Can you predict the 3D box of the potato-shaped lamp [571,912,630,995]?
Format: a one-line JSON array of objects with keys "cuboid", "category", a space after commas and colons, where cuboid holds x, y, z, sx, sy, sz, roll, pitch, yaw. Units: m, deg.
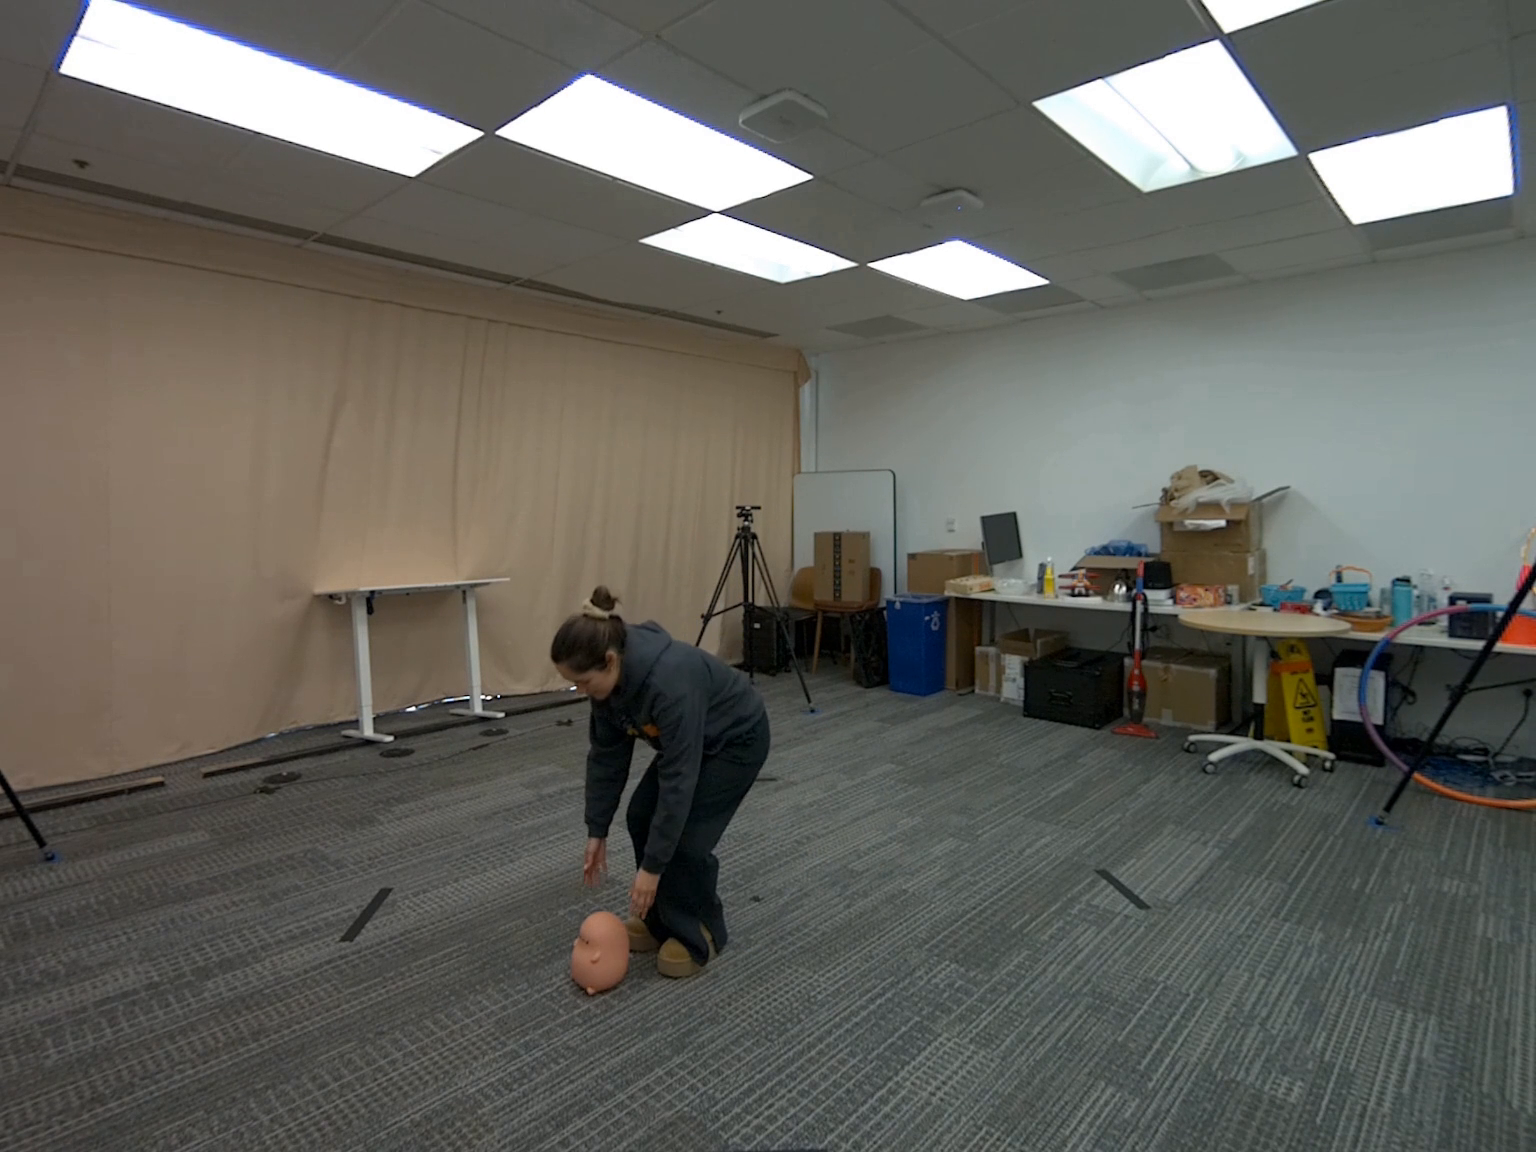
[{"cuboid": [-0.474, 1.095, 2.468, 0.166, 0.198, 0.170, 1, -1, -39], "category": "potato-shaped lamp"}]
